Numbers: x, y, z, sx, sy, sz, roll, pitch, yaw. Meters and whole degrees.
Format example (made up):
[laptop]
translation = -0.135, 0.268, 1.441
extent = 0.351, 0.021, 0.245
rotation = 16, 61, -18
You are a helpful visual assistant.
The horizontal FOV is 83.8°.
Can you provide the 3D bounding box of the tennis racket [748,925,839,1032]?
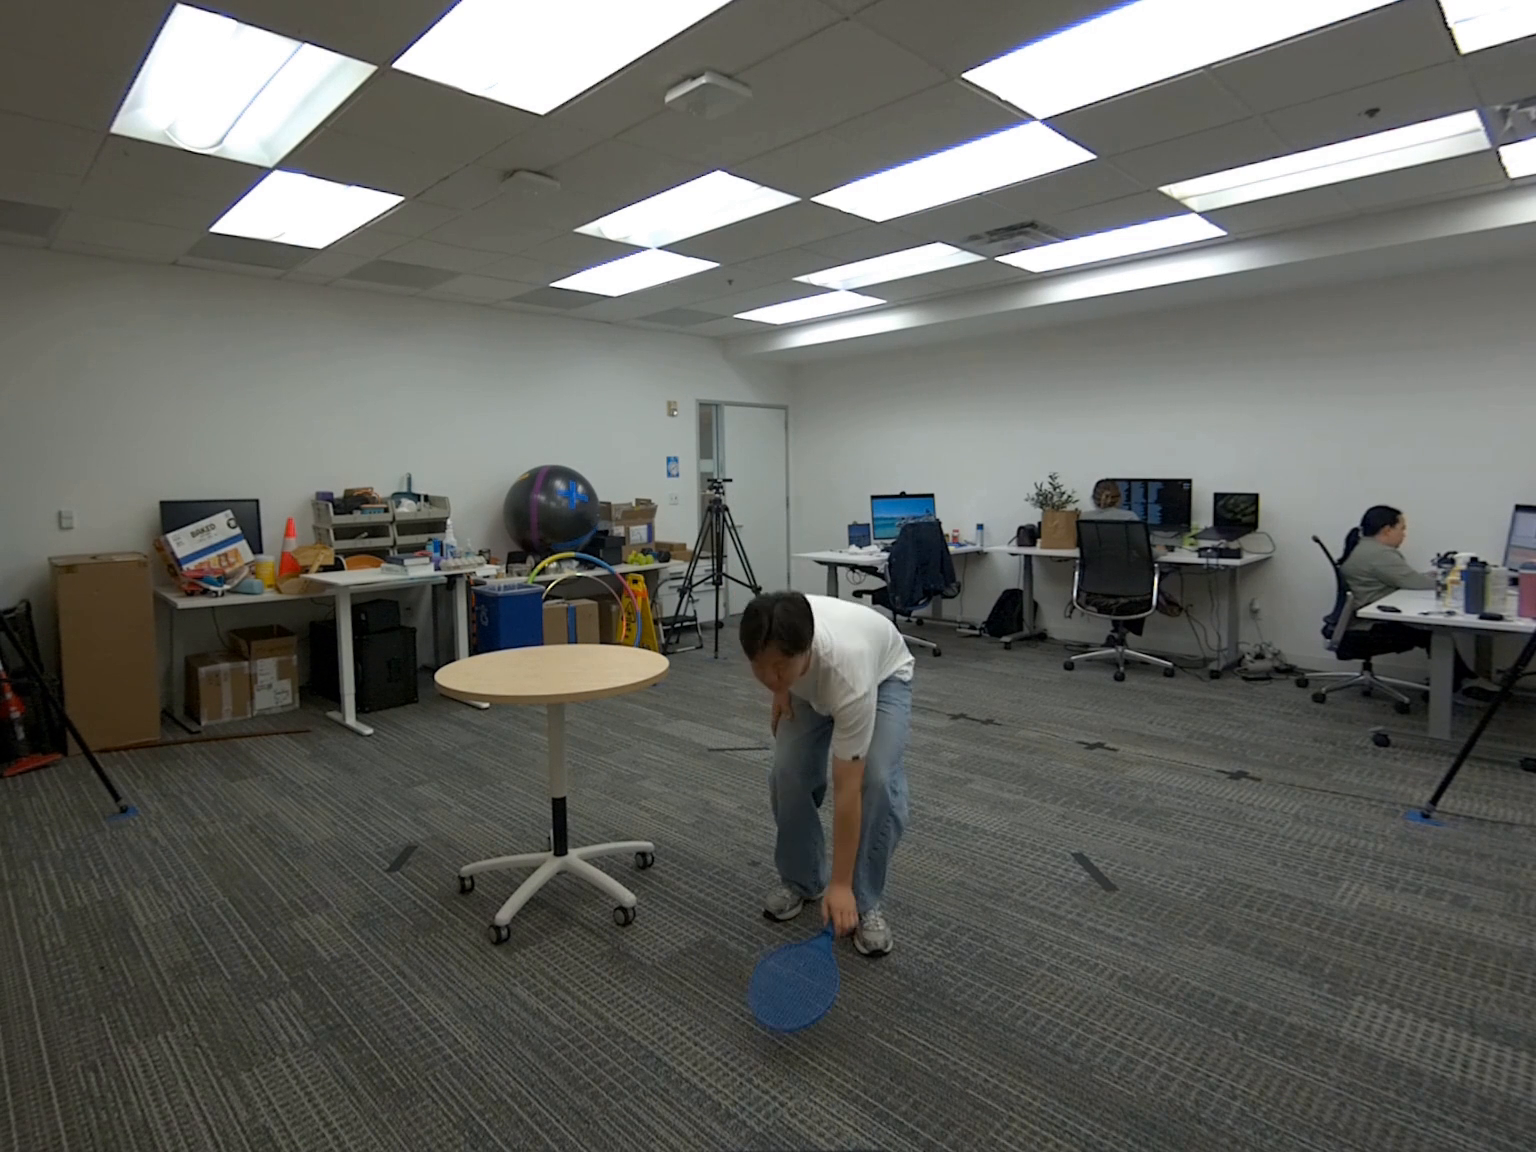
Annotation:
[tennis racket]
translation = 0.051, 0.970, 2.205
extent = 0.213, 0.031, 0.442
rotation = -8, 20, -4
